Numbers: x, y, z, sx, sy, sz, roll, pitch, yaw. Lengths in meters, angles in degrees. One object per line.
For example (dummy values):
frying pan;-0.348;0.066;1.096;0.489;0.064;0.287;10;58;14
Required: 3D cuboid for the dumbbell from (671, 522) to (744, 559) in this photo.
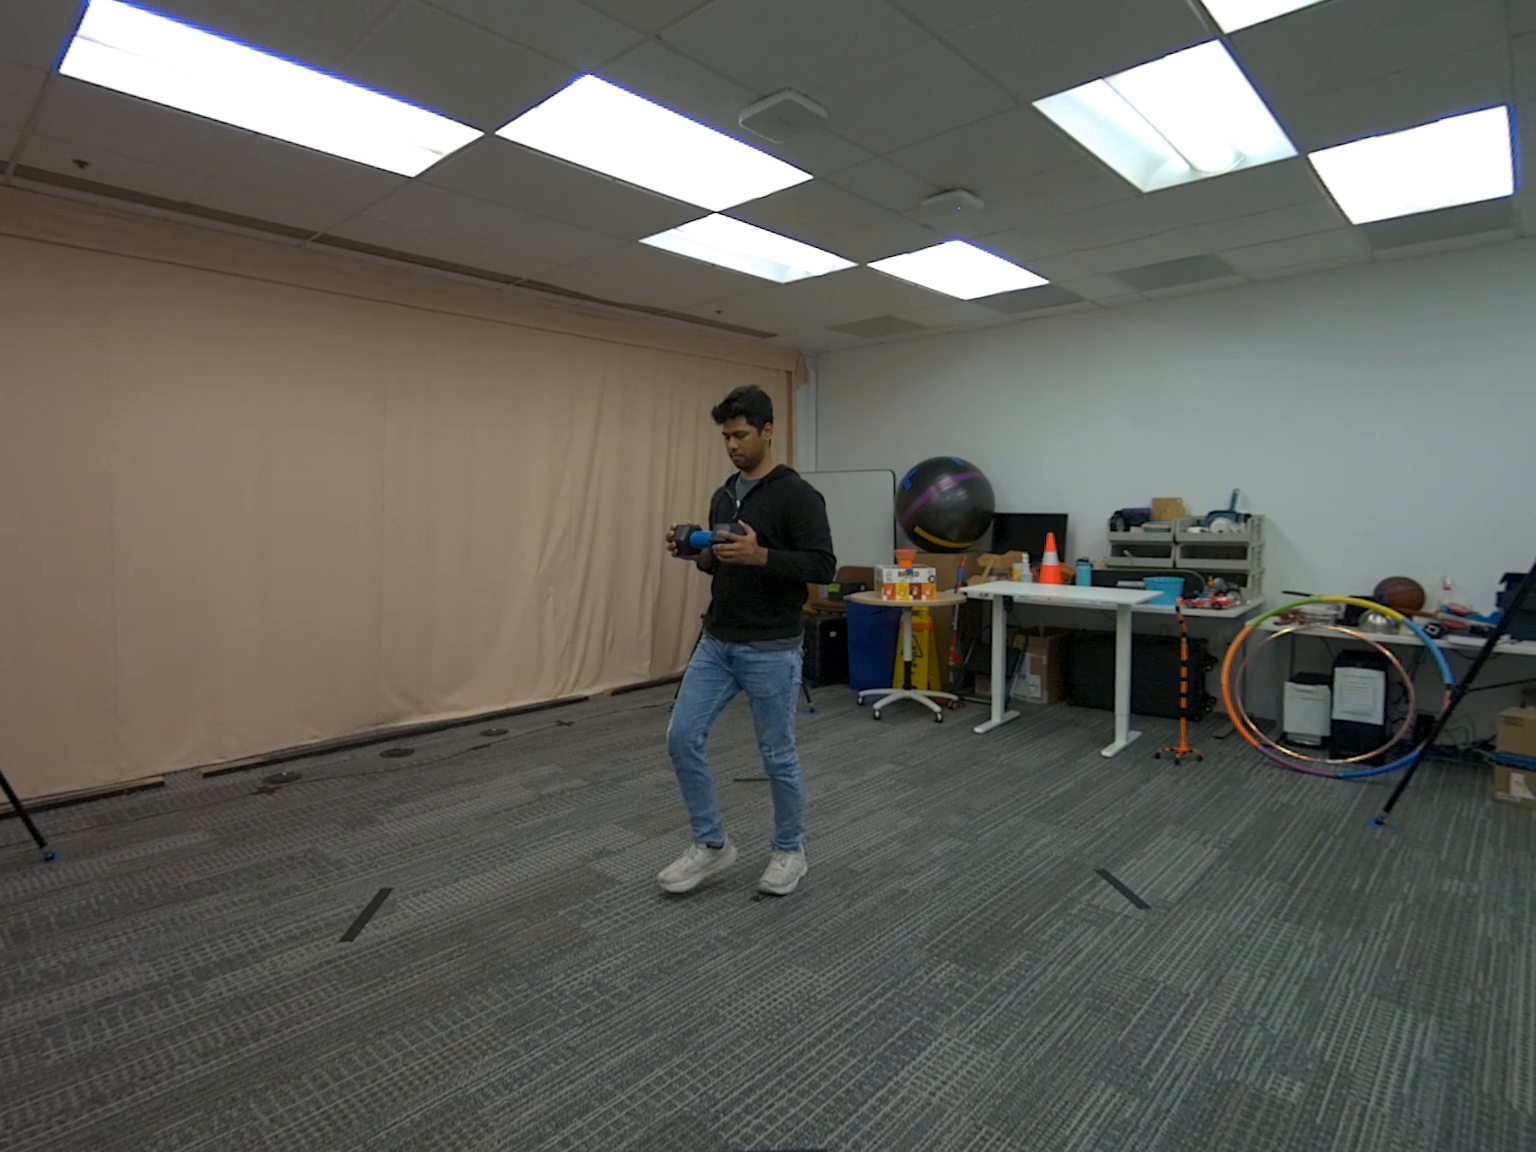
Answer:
dumbbell;-0.205;-0.121;2.885;0.303;0.120;0.107;4;35;47
